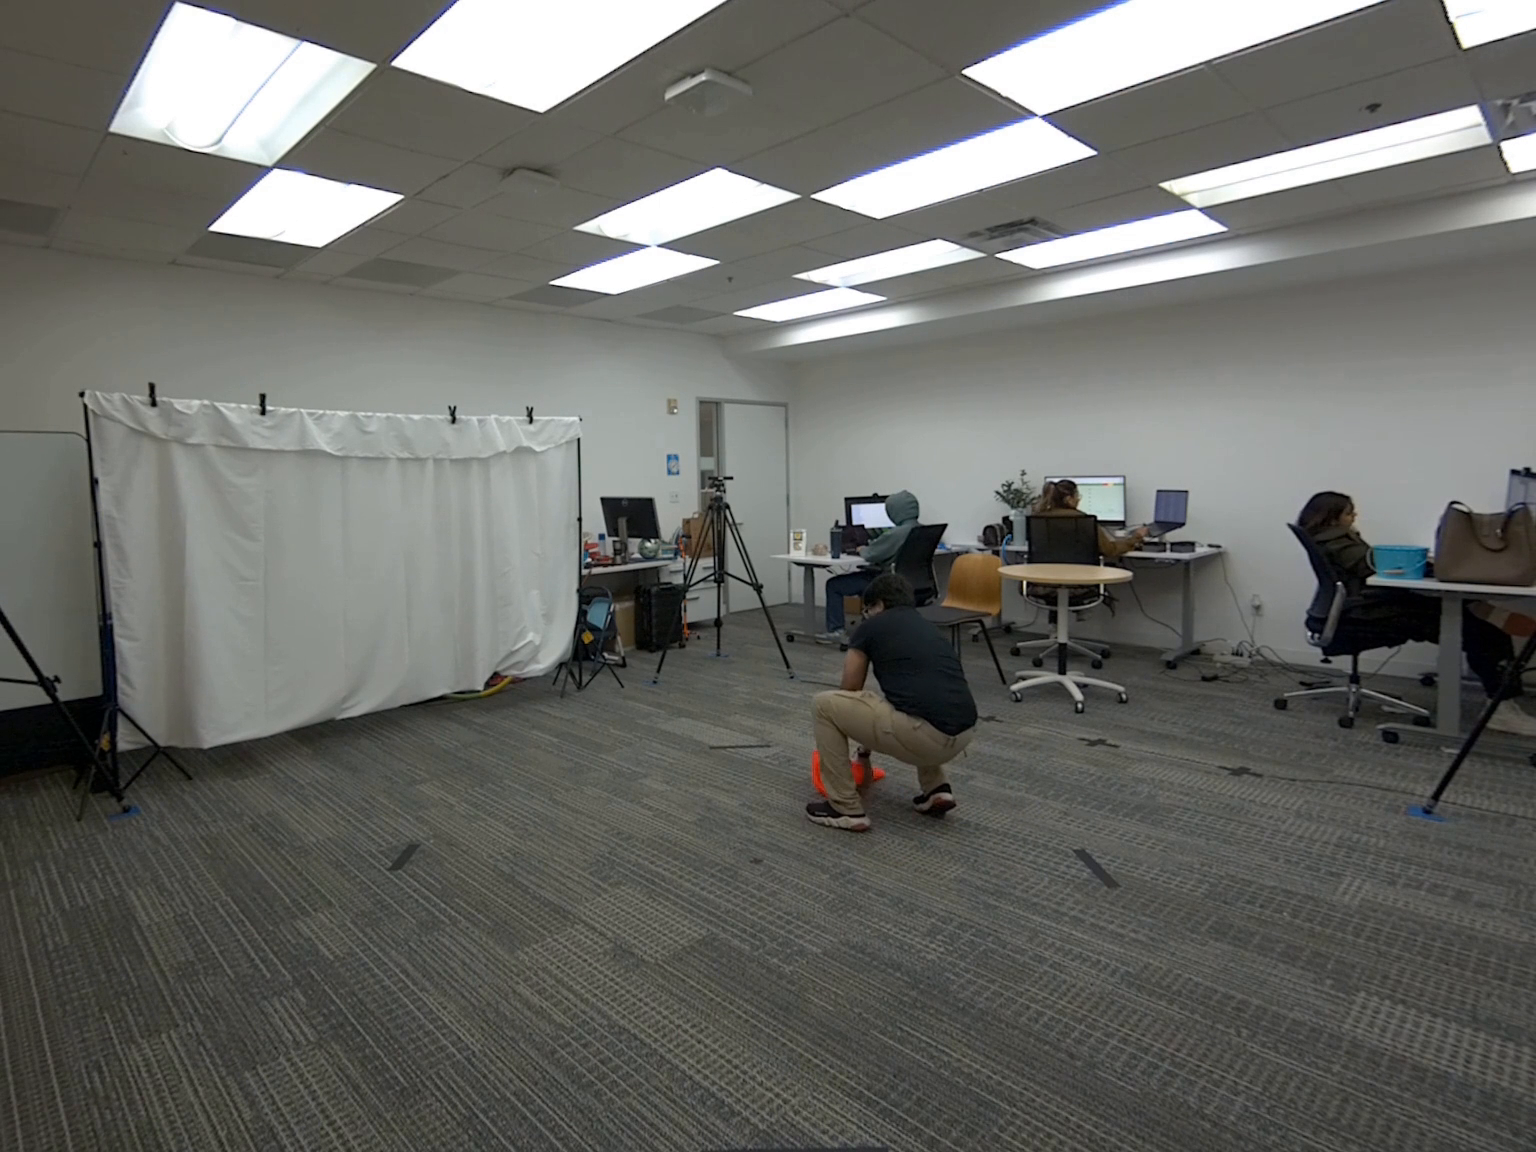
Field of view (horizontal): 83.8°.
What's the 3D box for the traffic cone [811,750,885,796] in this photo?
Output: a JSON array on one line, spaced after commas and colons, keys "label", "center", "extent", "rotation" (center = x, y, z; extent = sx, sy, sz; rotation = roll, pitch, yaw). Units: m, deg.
[{"label": "traffic cone", "center": [0.411, 0.891, 3.840], "extent": [0.208, 0.207, 0.370], "rotation": [-7, -14, 43]}]
